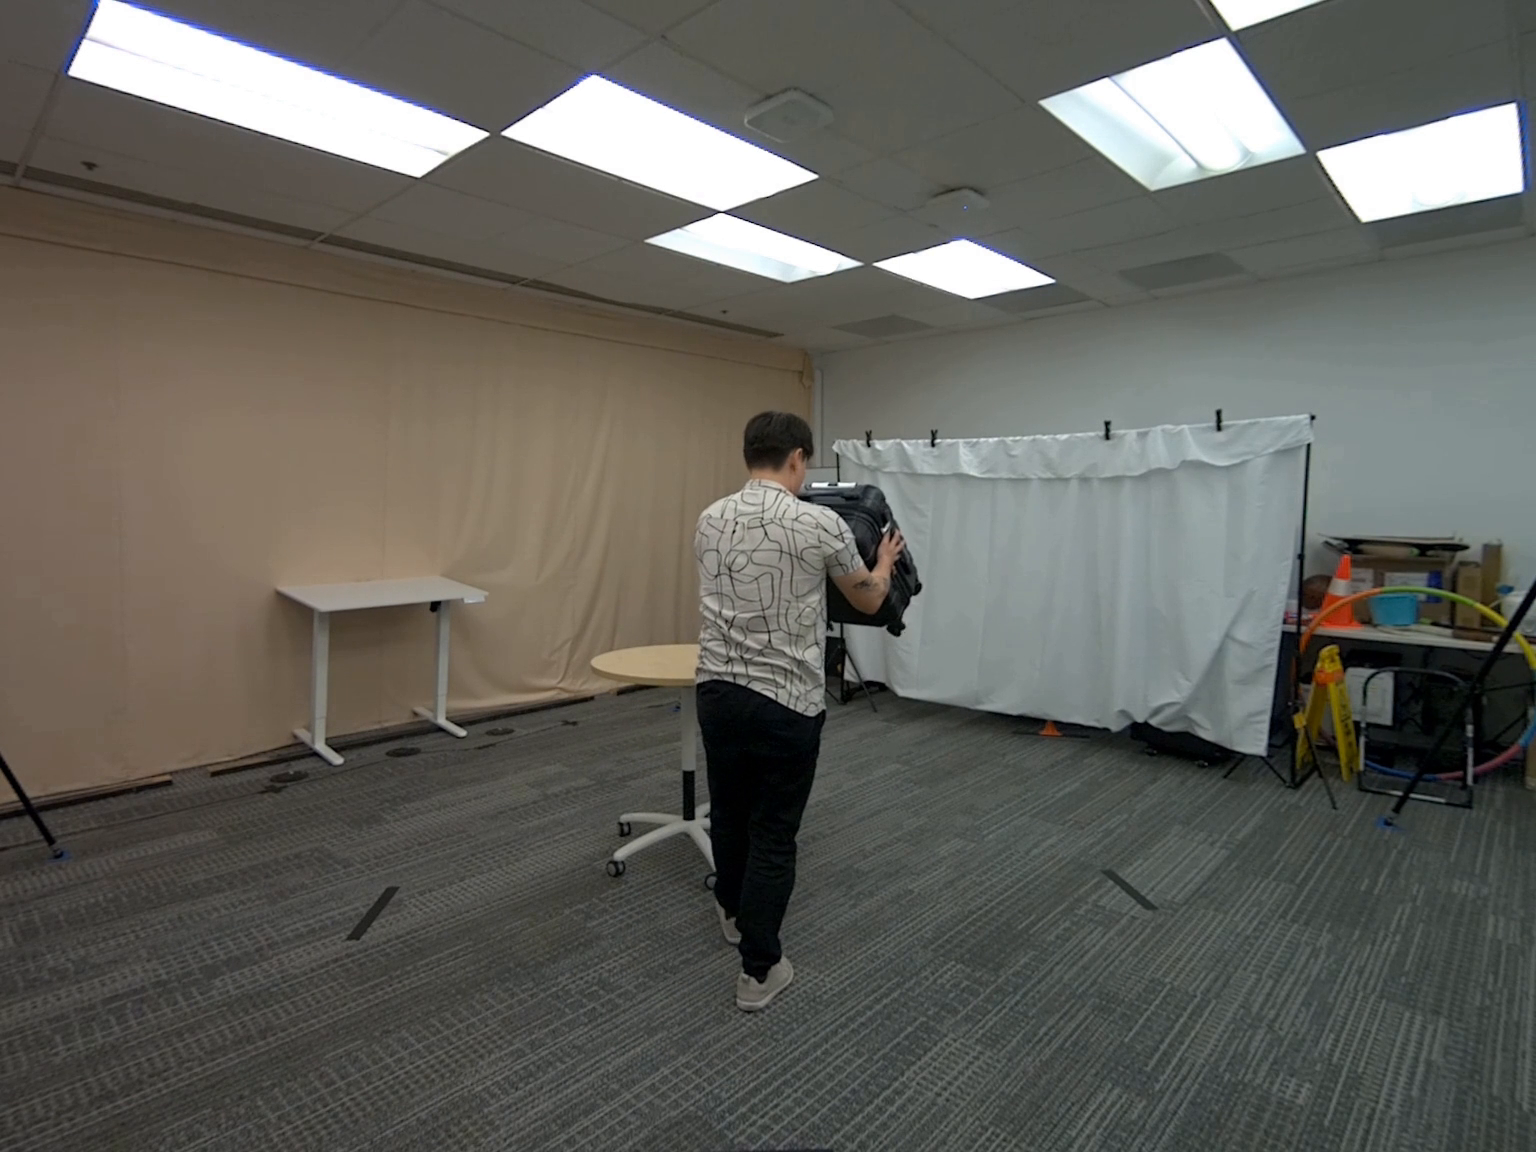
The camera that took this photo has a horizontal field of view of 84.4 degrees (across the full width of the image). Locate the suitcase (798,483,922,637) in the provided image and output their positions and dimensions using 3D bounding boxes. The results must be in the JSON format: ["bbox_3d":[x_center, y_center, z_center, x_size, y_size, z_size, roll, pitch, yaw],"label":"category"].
[{"bbox_3d":[0.277,-0.053,2.829,0.387,0.249,0.531,4,-37,33],"label":"suitcase"}]
